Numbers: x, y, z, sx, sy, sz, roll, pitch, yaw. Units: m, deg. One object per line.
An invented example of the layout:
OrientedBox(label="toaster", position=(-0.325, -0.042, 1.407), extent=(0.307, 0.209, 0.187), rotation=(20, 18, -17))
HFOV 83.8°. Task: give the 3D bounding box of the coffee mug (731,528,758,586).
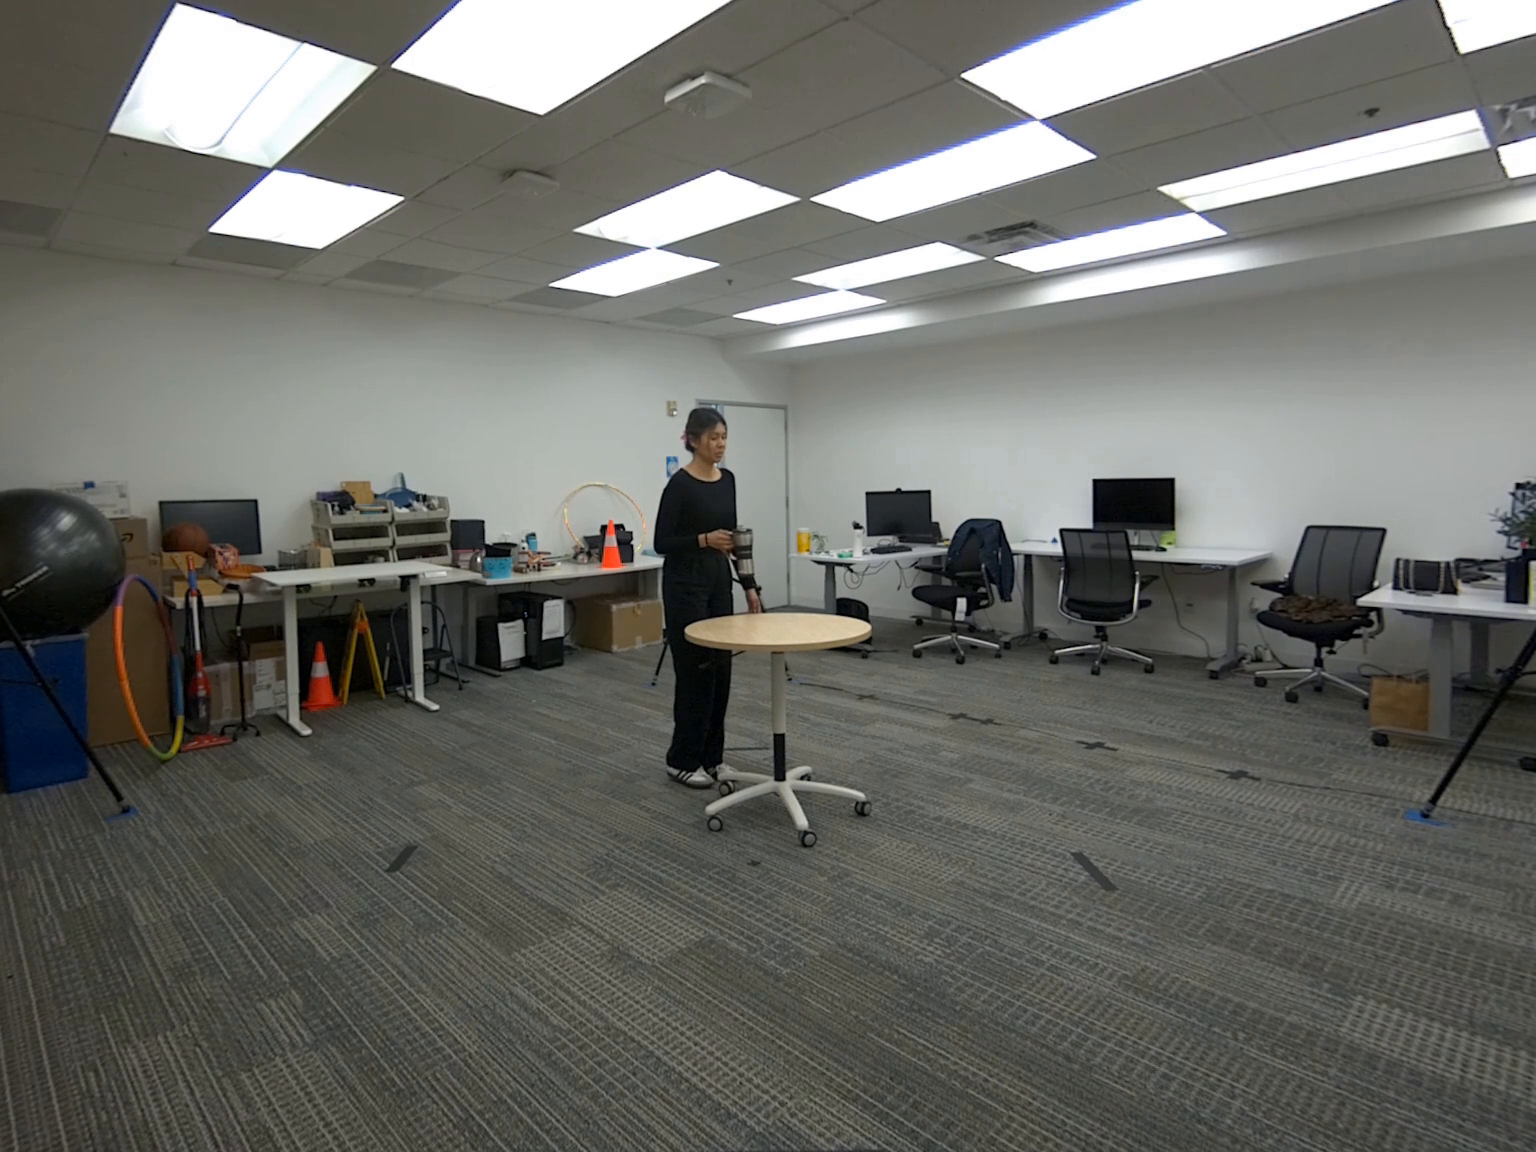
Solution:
OrientedBox(label="coffee mug", position=(-0.126, -0.102, 3.676), extent=(0.125, 0.202, 0.086), rotation=(0, 7, 36))
